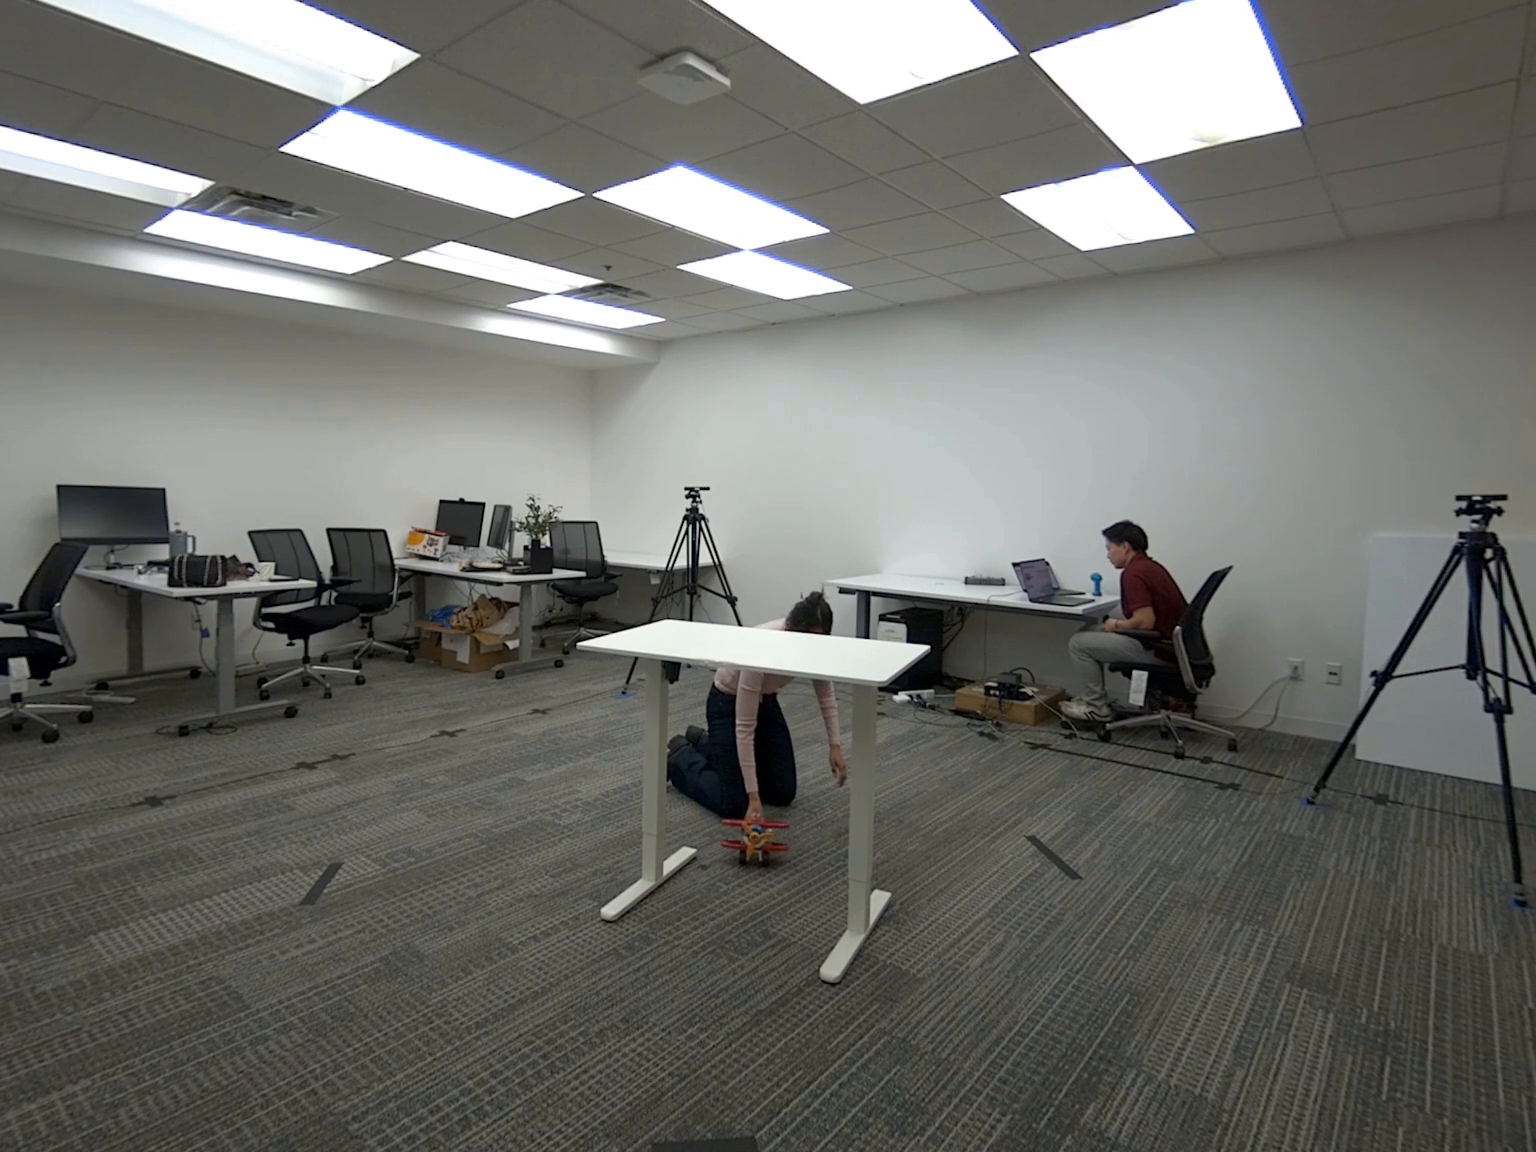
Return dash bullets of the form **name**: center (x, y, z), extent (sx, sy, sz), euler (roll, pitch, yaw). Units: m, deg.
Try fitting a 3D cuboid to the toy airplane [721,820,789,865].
- **toy airplane**: center (-0.080, 0.982, 3.222), extent (0.245, 0.156, 0.266), euler (0, 6, -24)
